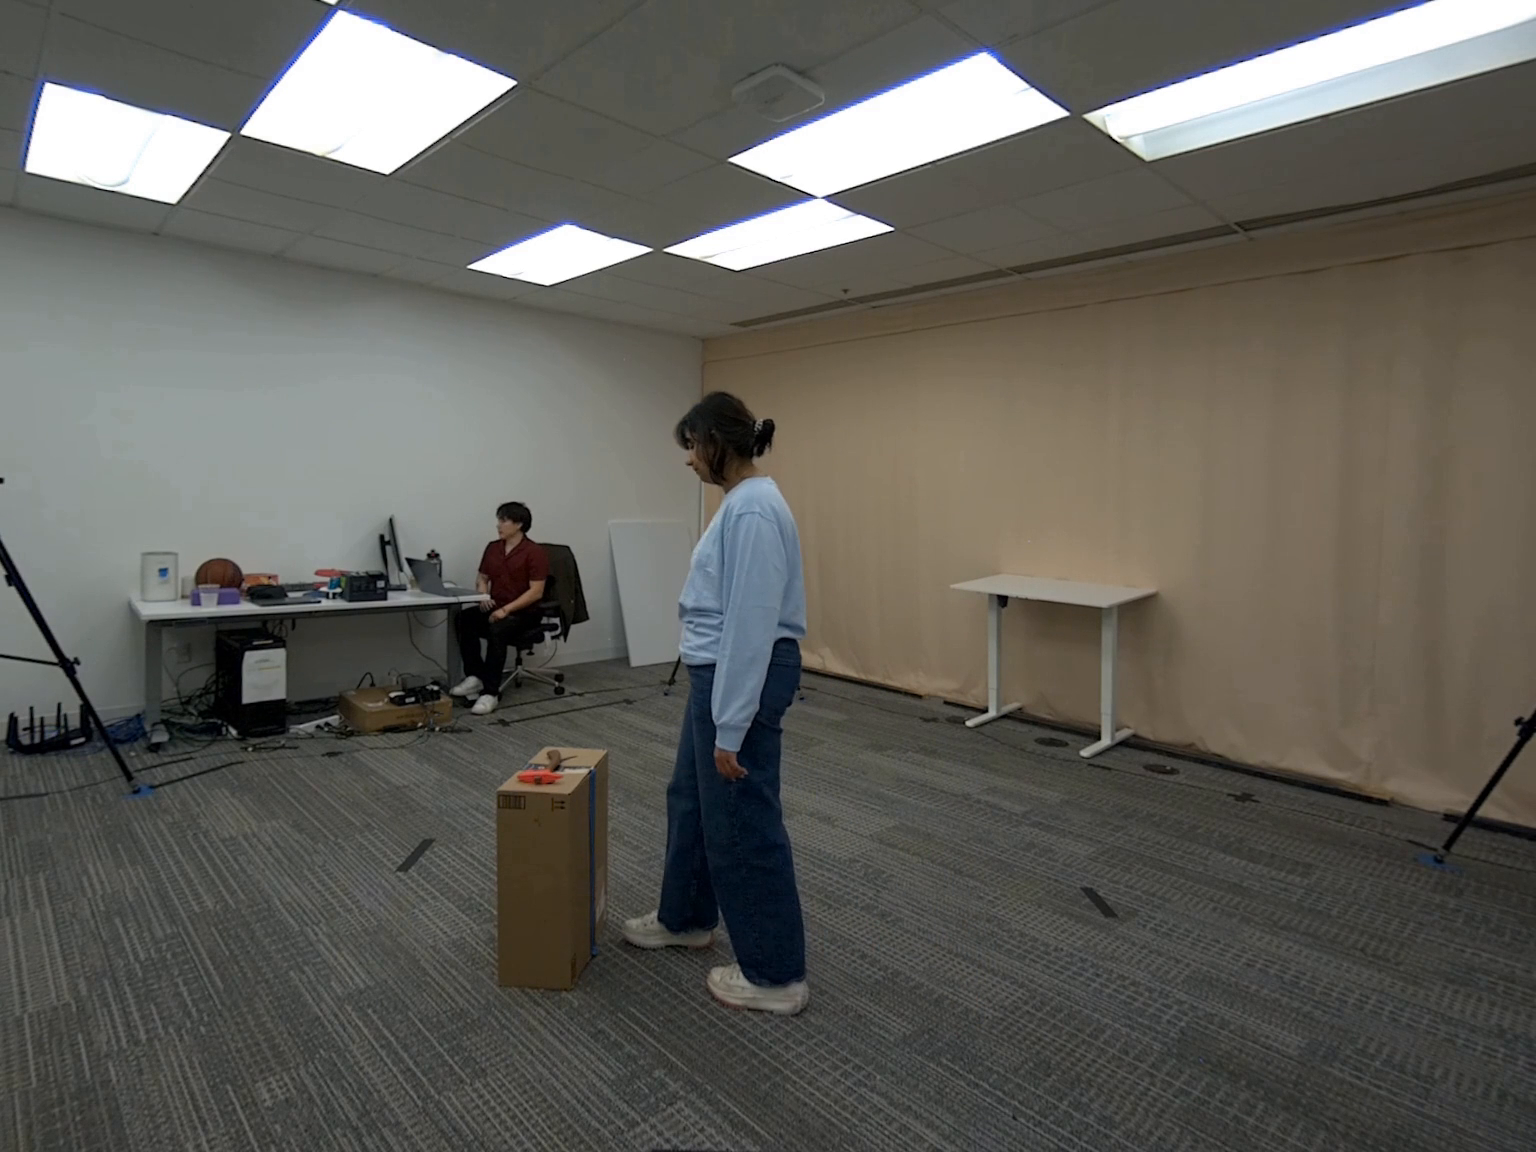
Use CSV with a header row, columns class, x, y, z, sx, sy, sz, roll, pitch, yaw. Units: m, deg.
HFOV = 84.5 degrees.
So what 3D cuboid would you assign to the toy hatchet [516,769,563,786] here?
class,x,y,z,sx,sy,sz,roll,pitch,yaw
toy hatchet,-0.684,0.568,2.530,0.130,0.029,0.273,-6,5,-14
